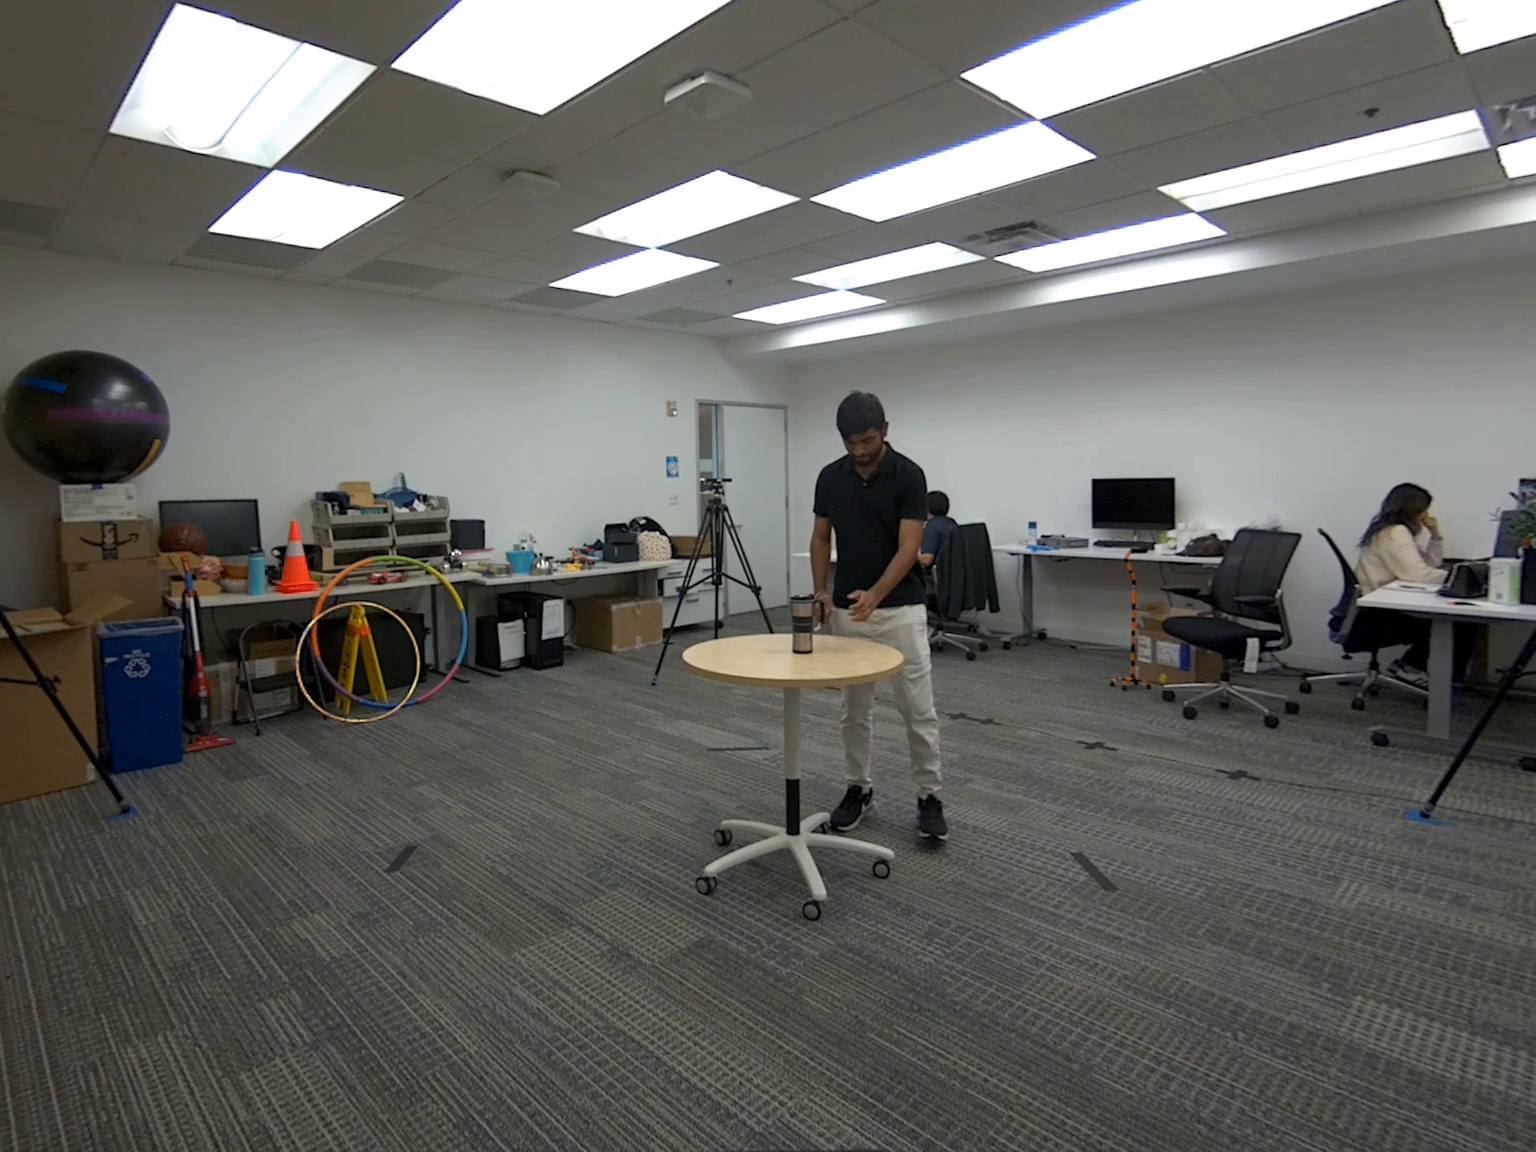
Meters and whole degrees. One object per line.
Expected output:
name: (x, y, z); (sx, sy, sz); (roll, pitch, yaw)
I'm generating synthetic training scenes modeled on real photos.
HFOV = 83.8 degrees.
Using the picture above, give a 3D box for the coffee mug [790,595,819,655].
coffee mug: (0.146, 0.172, 2.994); (0.124, 0.203, 0.086); (-4, -1, 23)
